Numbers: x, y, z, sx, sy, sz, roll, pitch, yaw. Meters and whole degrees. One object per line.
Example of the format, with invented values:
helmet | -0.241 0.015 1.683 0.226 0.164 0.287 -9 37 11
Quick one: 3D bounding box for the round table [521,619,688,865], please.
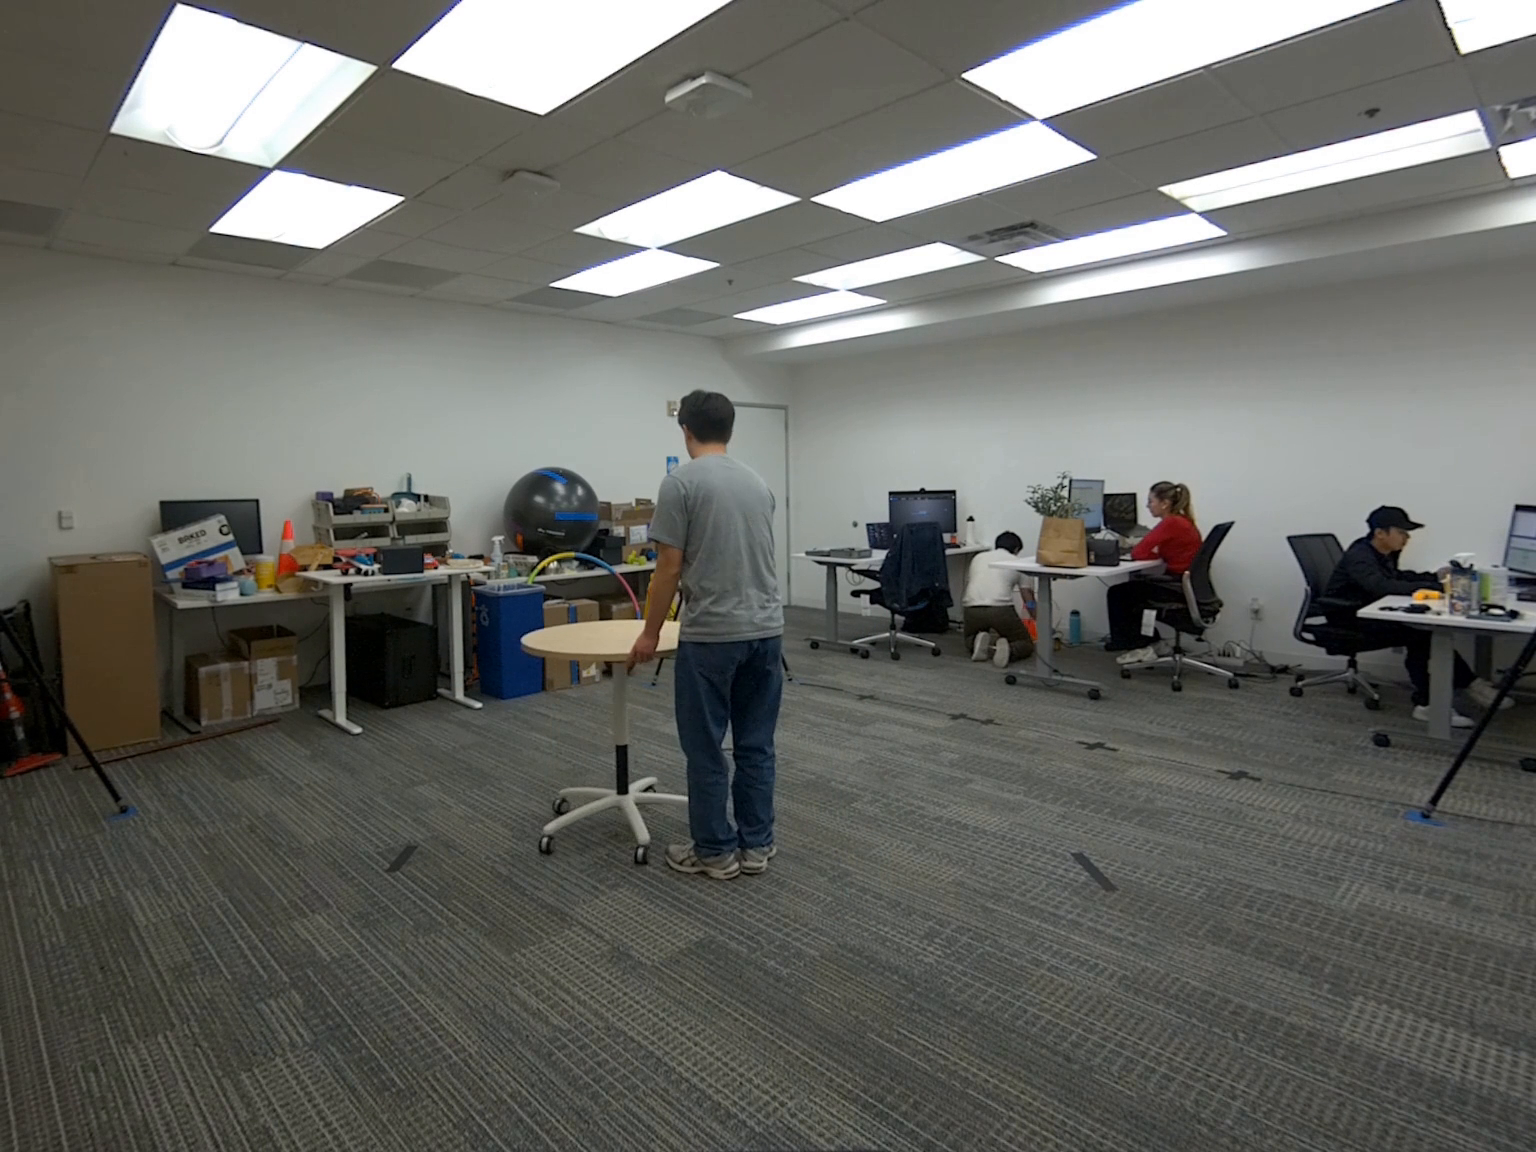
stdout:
round table | -0.582 0.629 3.431 0.763 0.791 0.767 -1 4 -2
